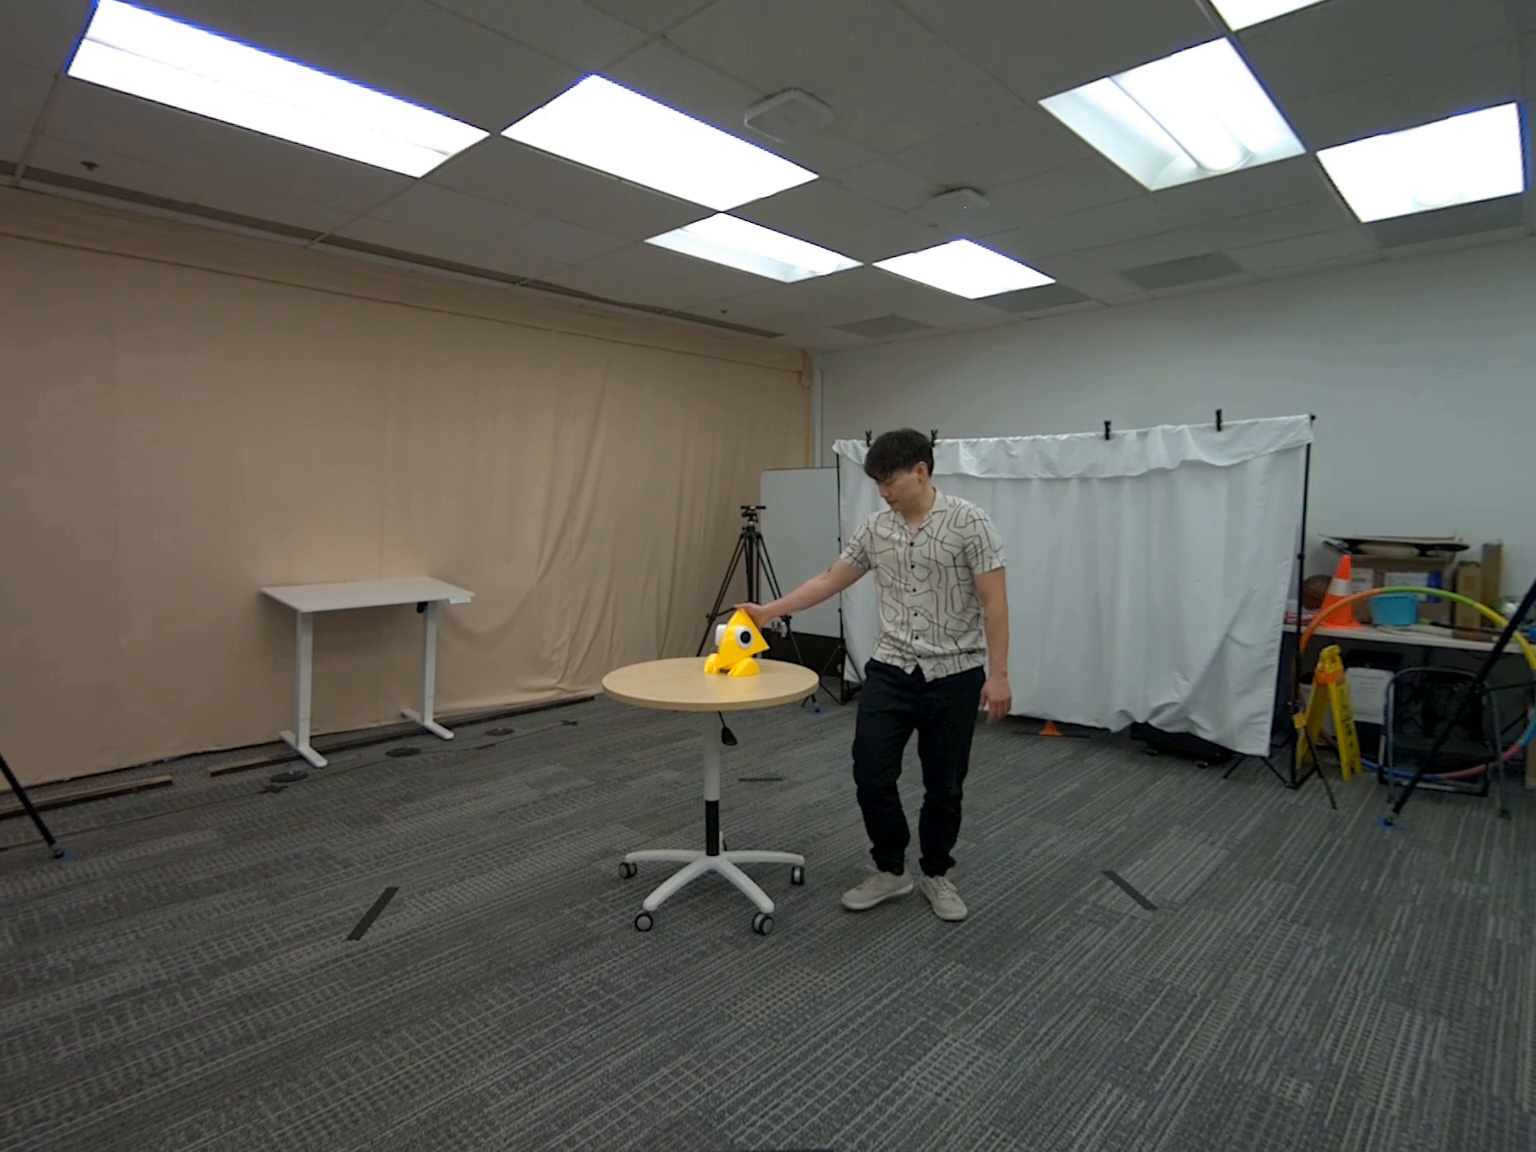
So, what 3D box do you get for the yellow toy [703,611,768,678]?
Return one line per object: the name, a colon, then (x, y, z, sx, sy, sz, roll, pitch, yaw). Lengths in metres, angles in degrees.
yellow toy: (-0.130, 0.237, 3.100, 0.211, 0.230, 0.188, 2, 4, 33)
